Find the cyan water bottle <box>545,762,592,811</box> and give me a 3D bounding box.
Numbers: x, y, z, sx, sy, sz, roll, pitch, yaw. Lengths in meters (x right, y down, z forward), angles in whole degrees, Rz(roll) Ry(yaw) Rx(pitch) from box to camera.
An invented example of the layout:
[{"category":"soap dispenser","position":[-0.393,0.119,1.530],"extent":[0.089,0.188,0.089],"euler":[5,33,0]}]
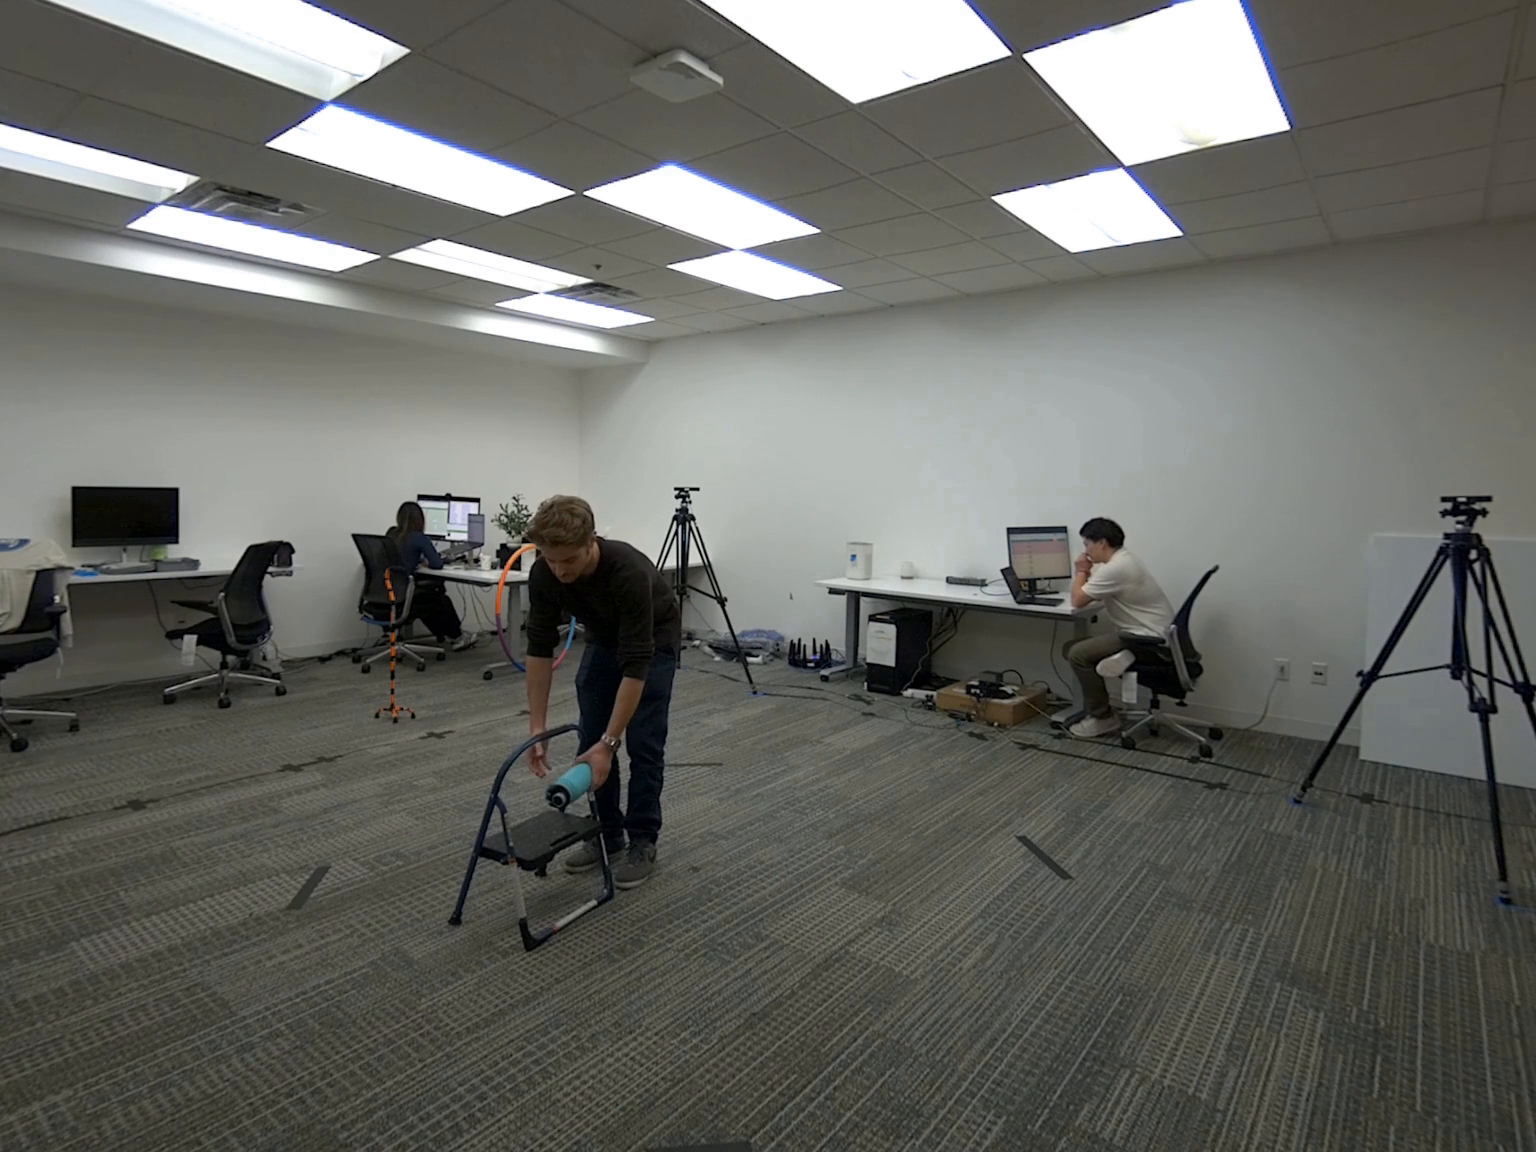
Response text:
[{"category":"cyan water bottle","position":[-0.623,0.651,2.712],"extent":[0.094,0.091,0.281],"euler":[2,12,16]}]
